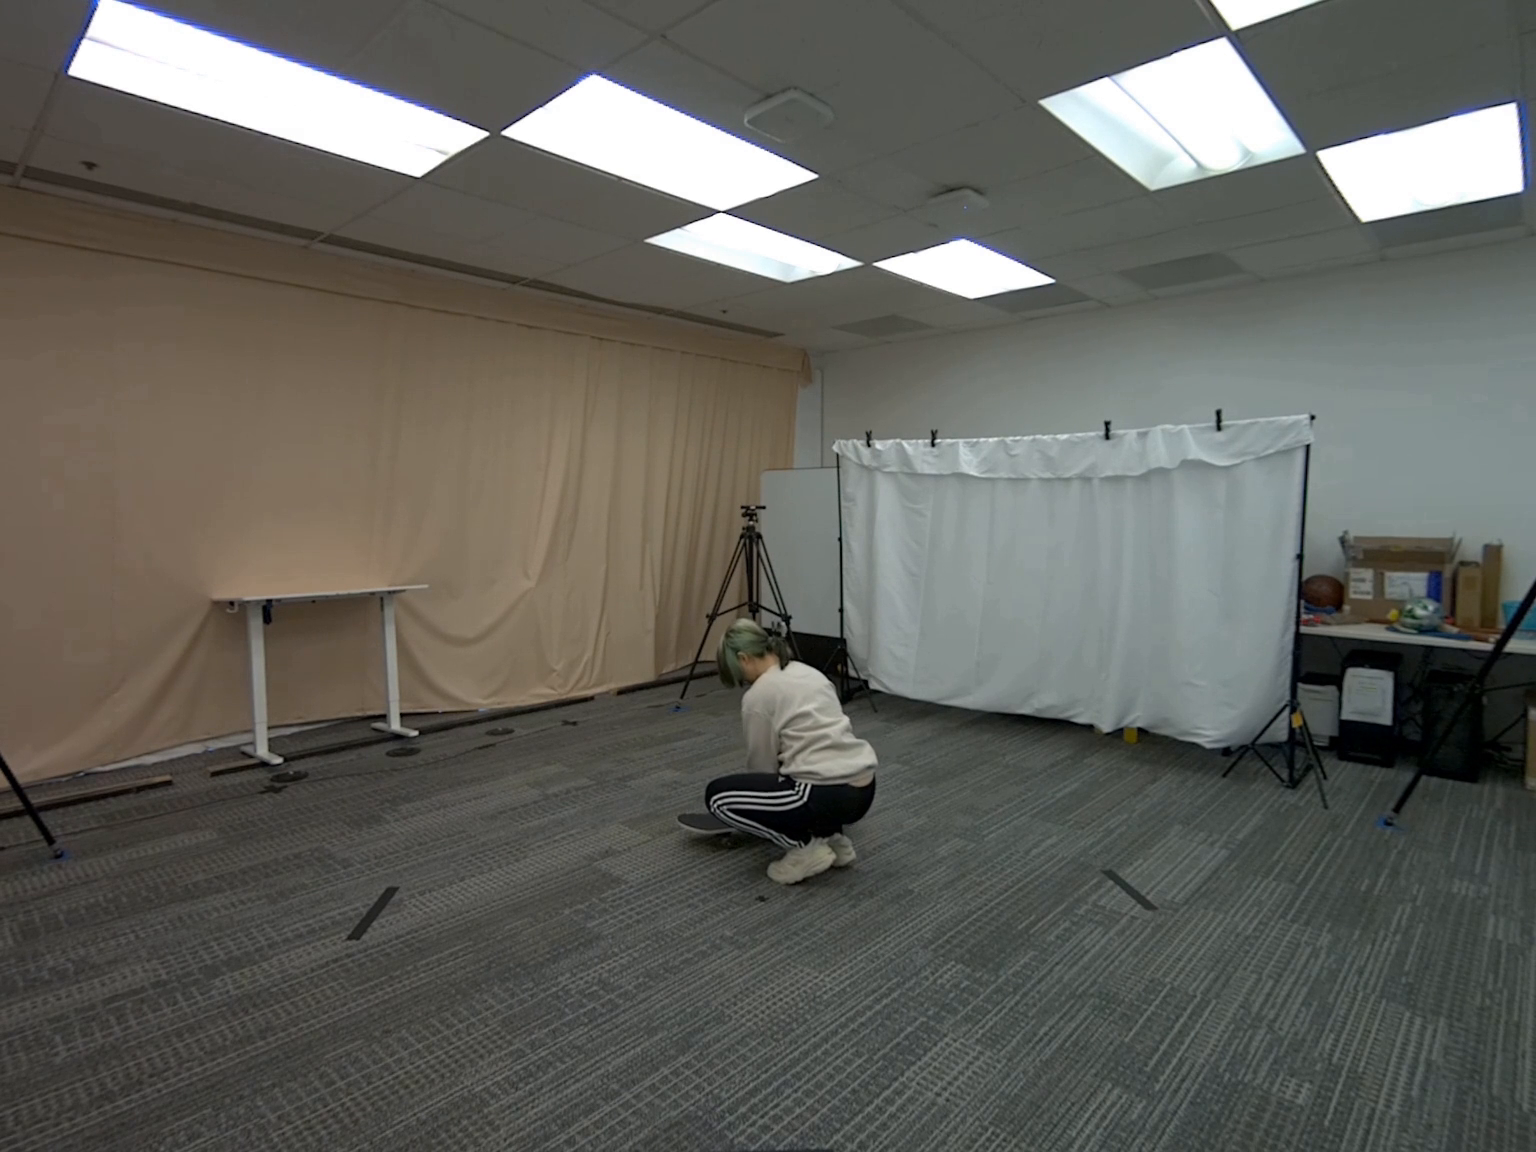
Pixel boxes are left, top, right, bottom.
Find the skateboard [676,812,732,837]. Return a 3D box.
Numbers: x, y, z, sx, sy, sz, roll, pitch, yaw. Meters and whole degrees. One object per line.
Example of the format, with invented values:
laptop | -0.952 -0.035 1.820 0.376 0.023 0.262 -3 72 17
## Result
skateboard | -0.004 1.035 3.541 0.774 0.110 0.197 -1 5 -14
